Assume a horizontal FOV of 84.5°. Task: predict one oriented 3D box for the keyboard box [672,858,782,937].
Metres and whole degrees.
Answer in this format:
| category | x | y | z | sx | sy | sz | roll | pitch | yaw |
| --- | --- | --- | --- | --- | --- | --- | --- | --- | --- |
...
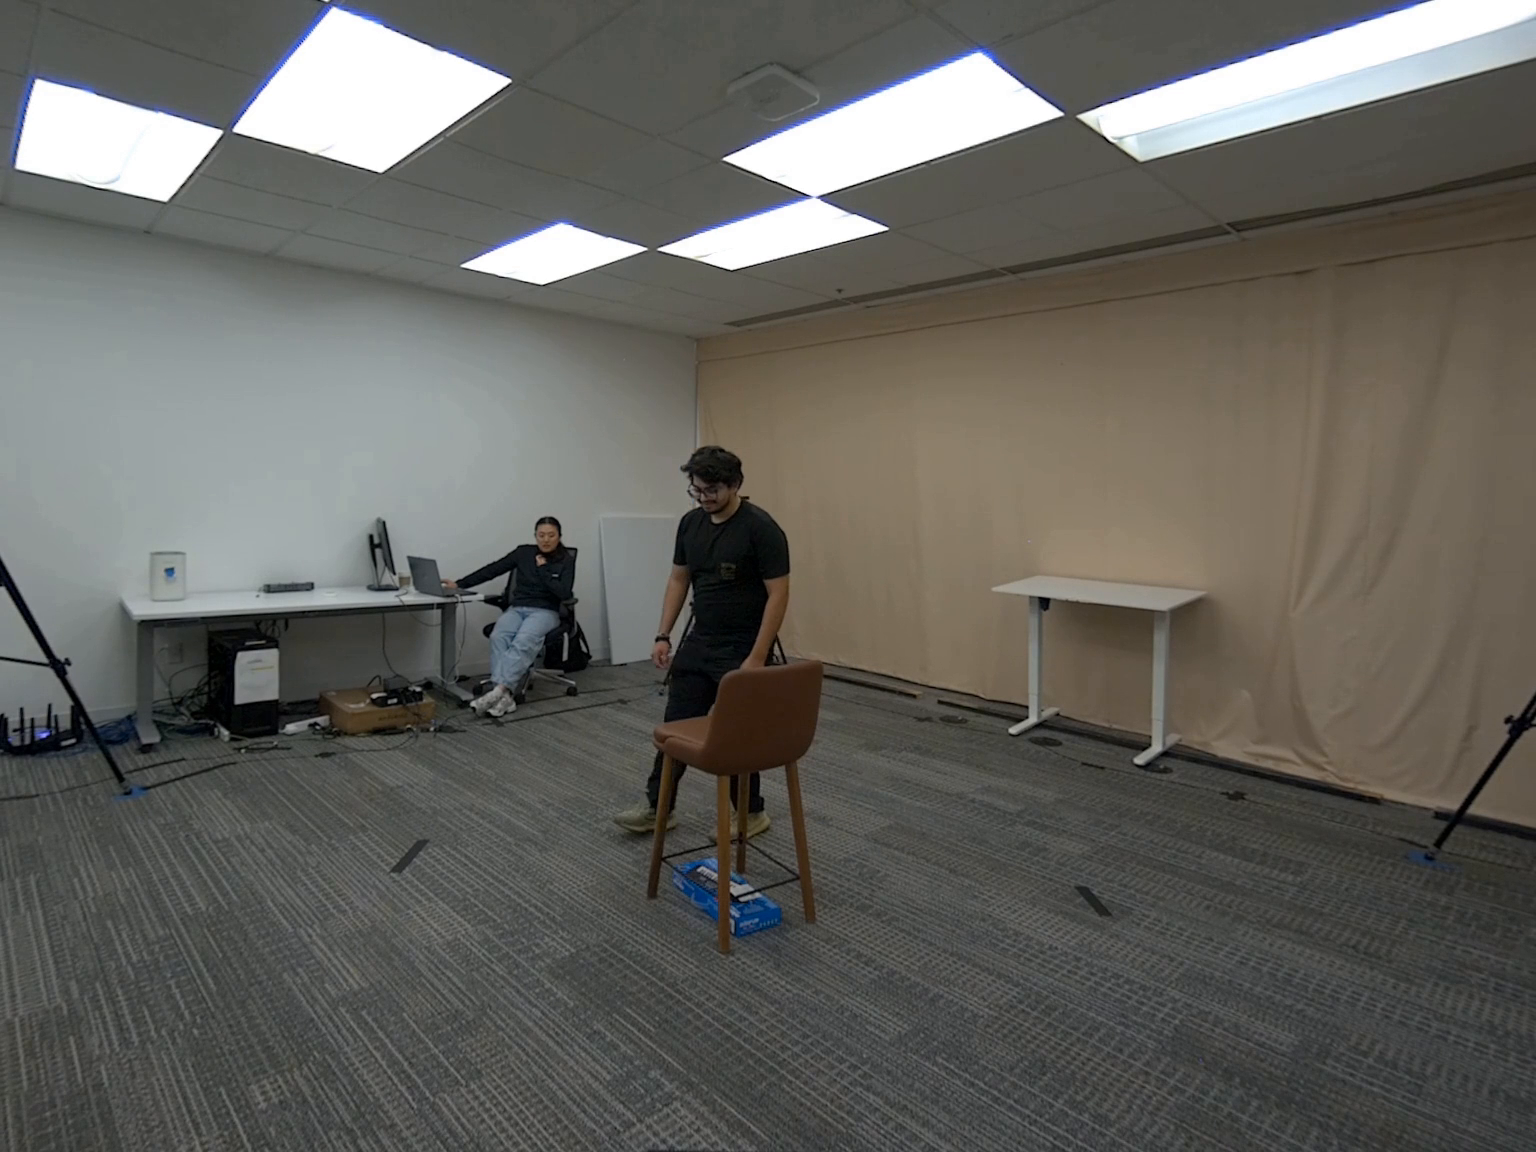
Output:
| category | x | y | z | sx | sy | sz | roll | pitch | yaw |
| --- | --- | --- | --- | --- | --- | --- | --- | --- | --- |
| keyboard box | -0.157 | 1.099 | 2.883 | 0.172 | 0.059 | 0.447 | -2 | 7 | -32 |
